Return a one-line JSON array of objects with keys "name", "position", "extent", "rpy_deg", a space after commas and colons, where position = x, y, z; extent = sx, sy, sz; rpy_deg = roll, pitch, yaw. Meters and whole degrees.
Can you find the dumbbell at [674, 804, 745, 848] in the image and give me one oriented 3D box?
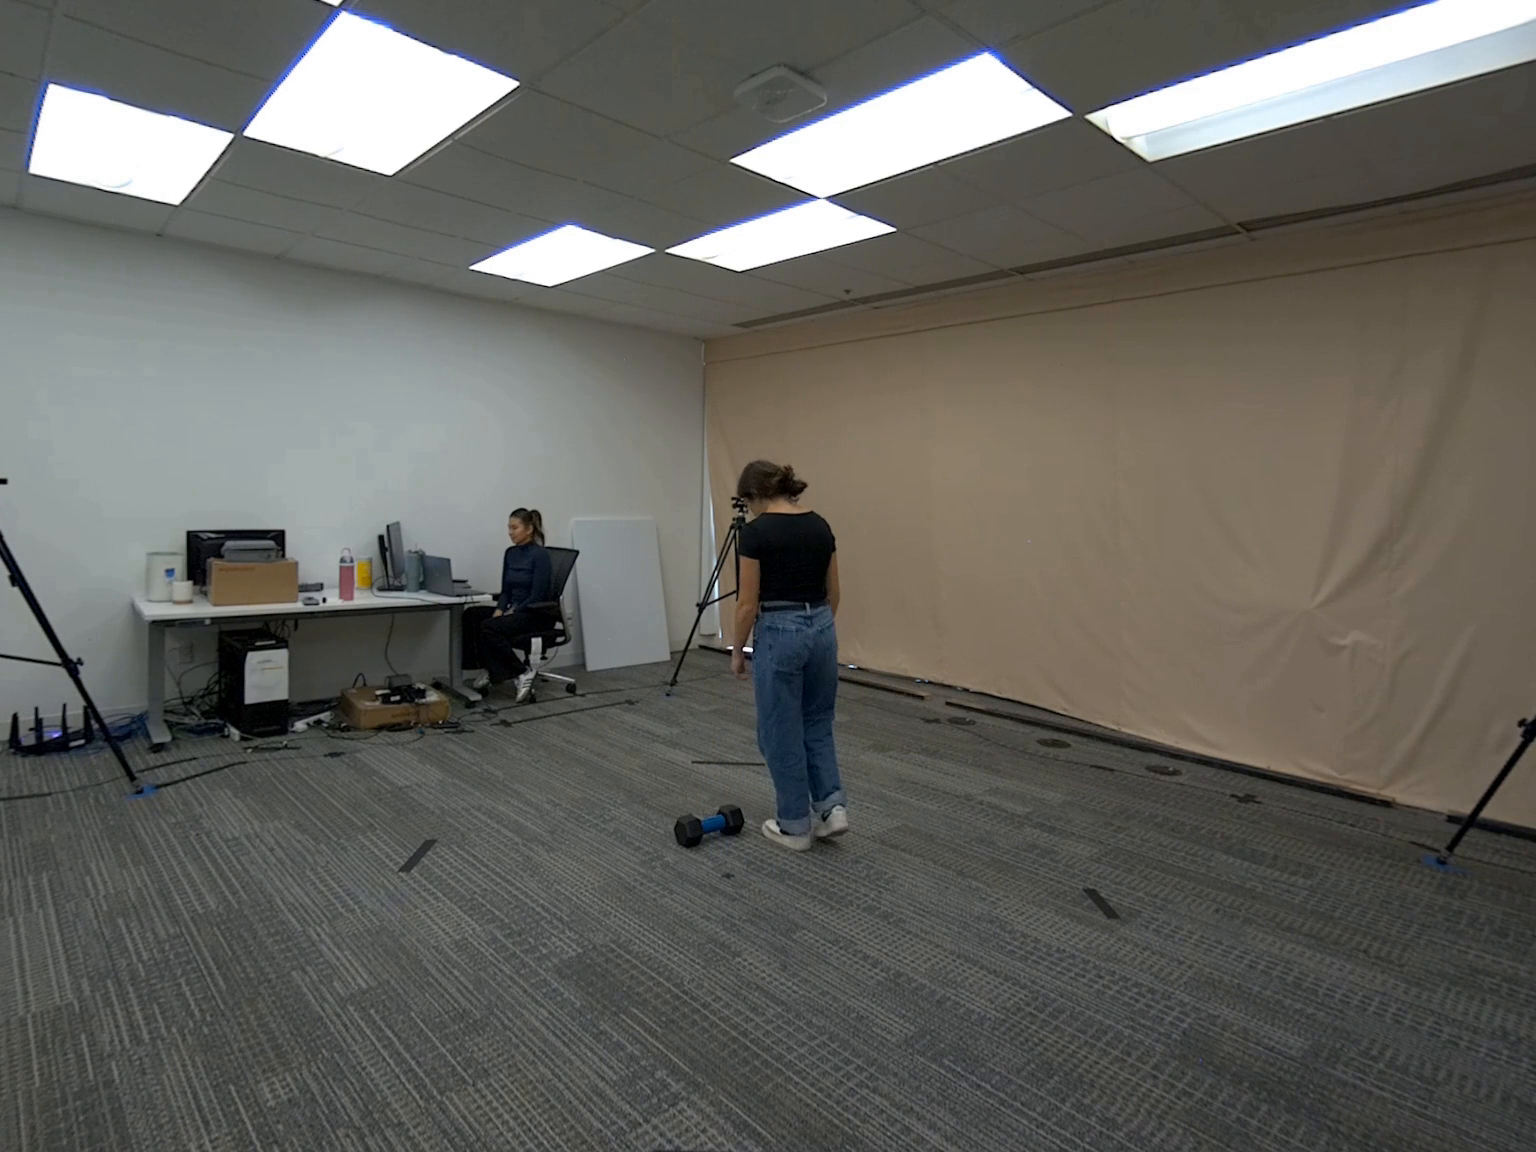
[{"name": "dumbbell", "position": [-0.243, 1.014, 3.440], "extent": [0.287, 0.125, 0.109], "rpy_deg": [-2, -27, -39]}]
